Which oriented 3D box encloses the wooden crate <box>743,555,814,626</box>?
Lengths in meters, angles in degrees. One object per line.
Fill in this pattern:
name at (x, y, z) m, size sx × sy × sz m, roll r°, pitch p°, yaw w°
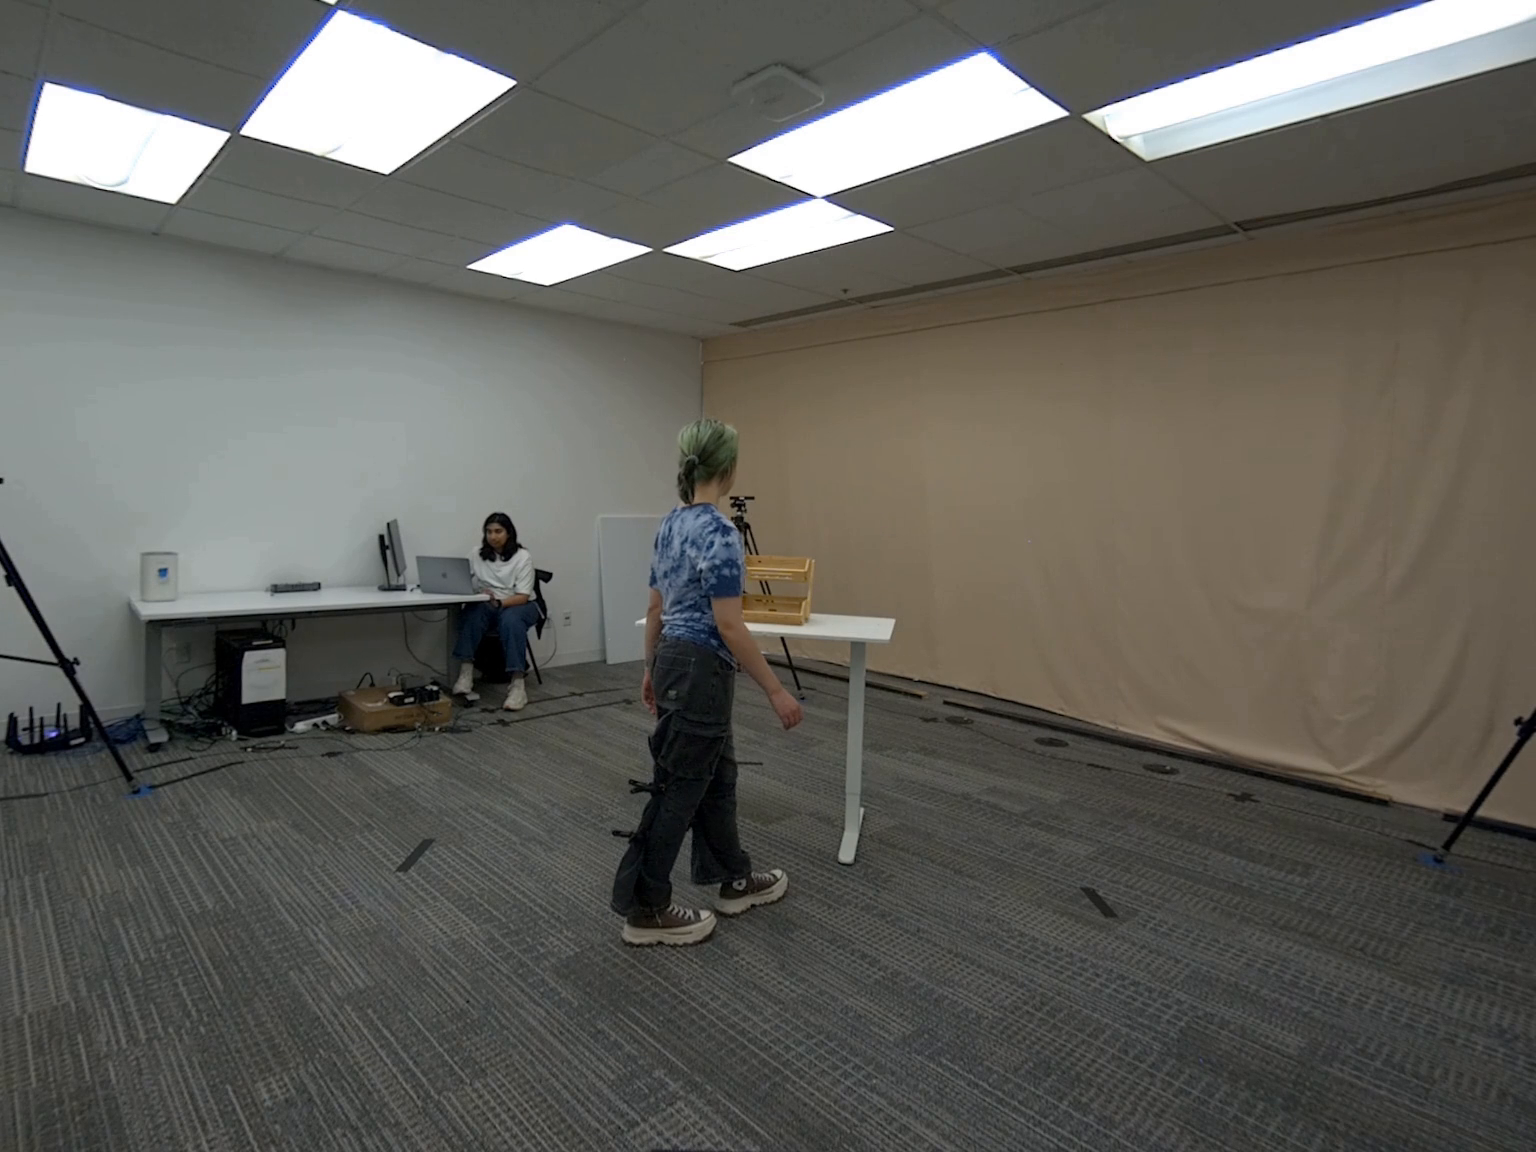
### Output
wooden crate at (0.016, 0.053, 3.575) m, size 0.328 × 0.273 × 0.299 m, roll 3°, pitch 3°, yaw 11°
